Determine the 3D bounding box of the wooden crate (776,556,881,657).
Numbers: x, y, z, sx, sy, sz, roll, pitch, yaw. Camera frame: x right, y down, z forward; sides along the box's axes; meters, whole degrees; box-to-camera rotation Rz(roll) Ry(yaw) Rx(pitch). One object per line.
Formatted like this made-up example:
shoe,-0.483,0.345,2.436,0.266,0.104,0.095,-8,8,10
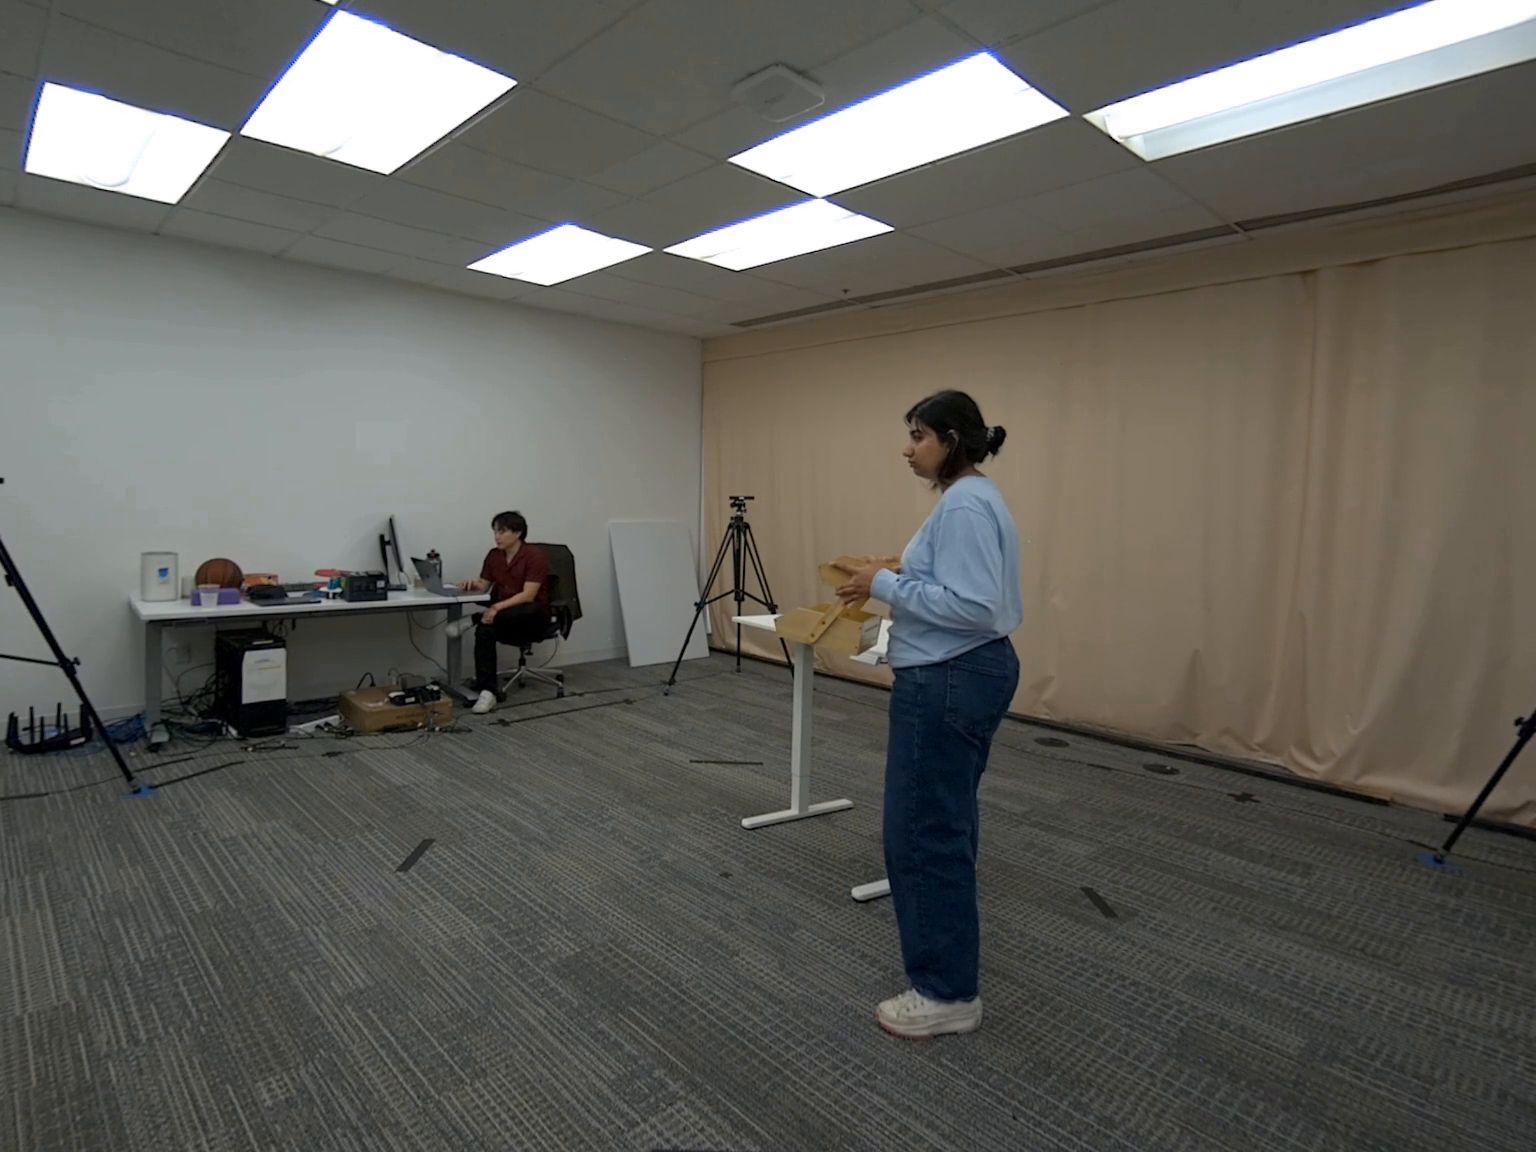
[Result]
wooden crate,0.229,0.069,2.426,0.307,0.272,0.320,14,5,17
